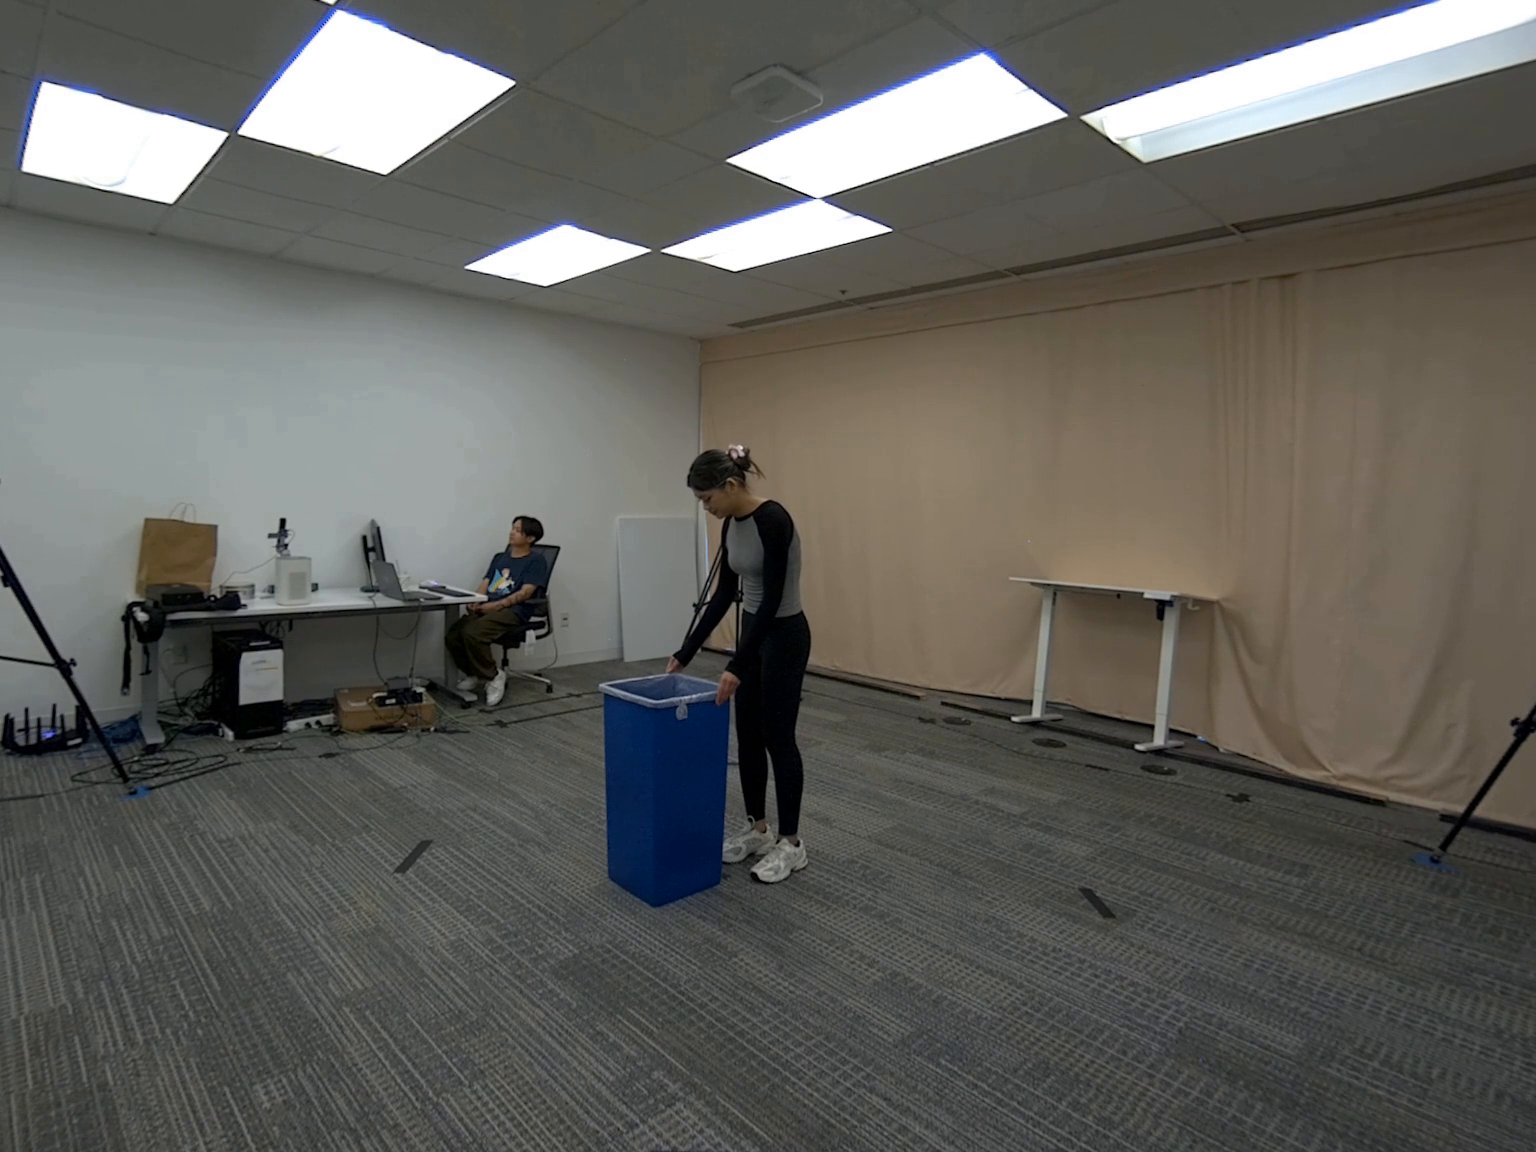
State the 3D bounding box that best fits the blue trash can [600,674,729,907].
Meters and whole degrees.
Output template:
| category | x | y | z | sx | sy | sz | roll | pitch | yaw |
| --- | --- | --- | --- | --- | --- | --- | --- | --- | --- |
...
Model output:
| category | x | y | z | sx | sy | sz | roll | pitch | yaw |
| --- | --- | --- | --- | --- | --- | --- | --- | --- | --- |
| blue trash can | -0.384 | 0.751 | 3.041 | 0.369 | 0.712 | 0.383 | -1 | 4 | -43 |
